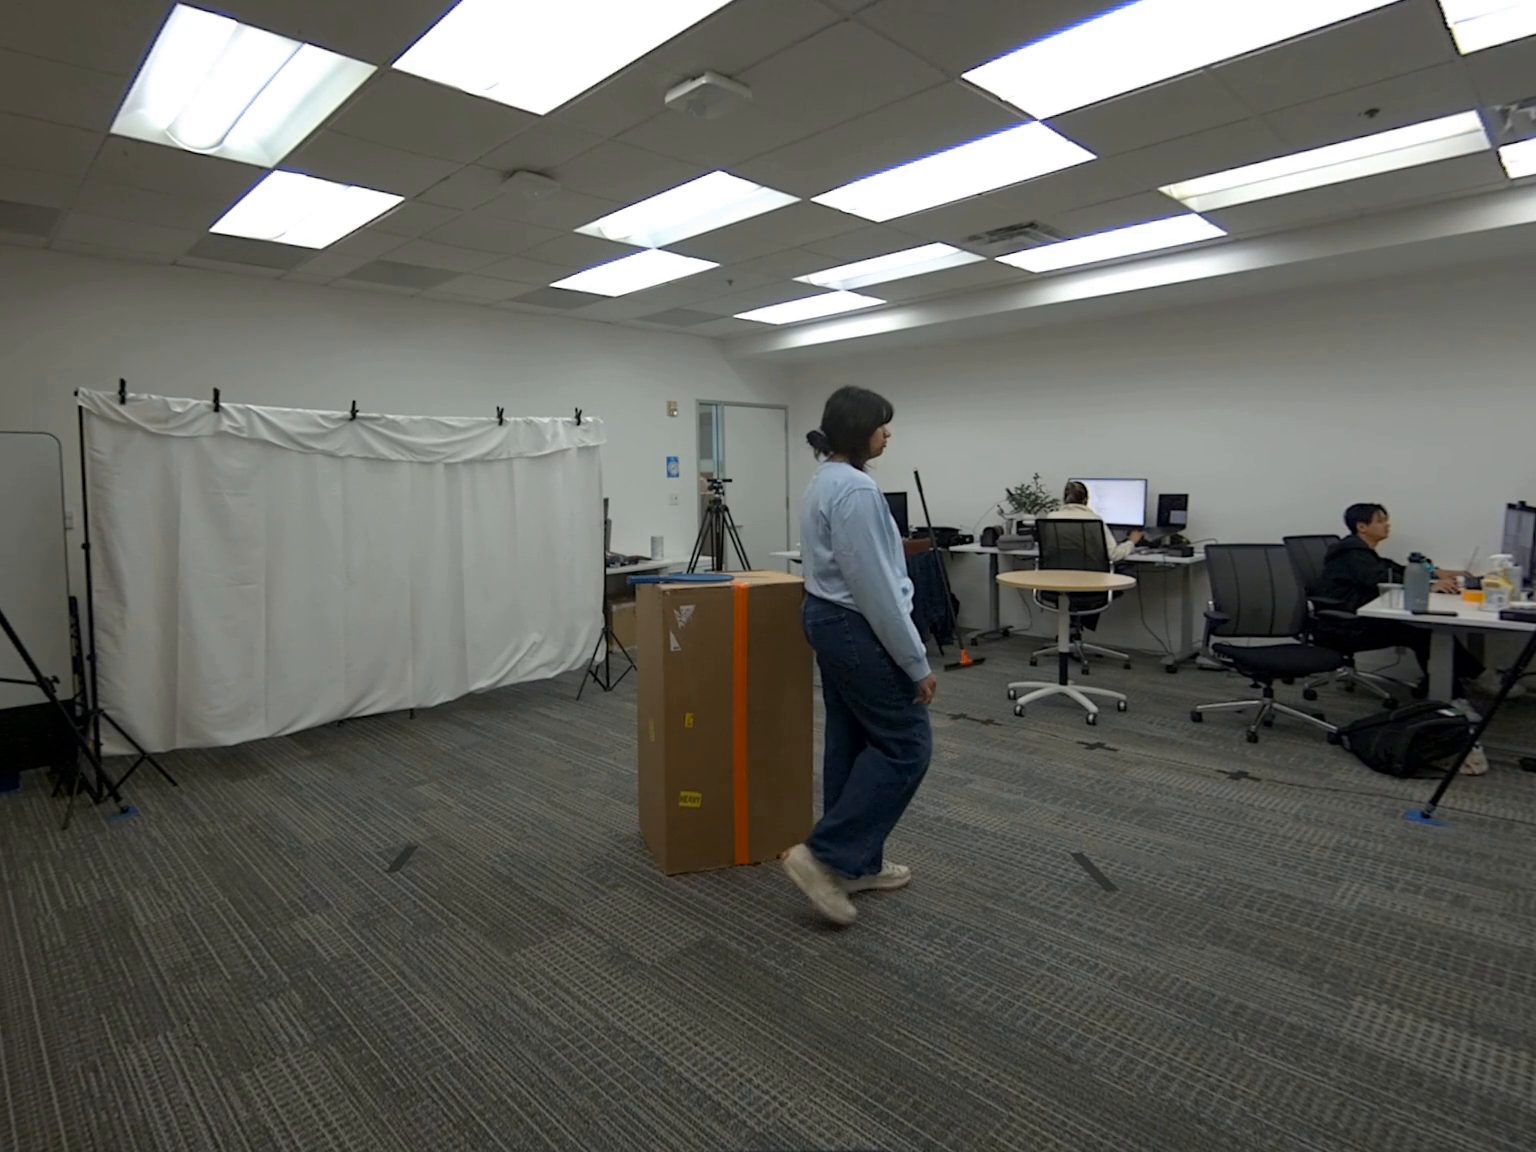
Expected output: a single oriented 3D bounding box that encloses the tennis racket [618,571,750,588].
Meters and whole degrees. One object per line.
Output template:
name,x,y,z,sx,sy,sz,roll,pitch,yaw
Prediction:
tennis racket,-0.306,0.009,3.147,0.421,0.031,0.220,-2,6,-37
